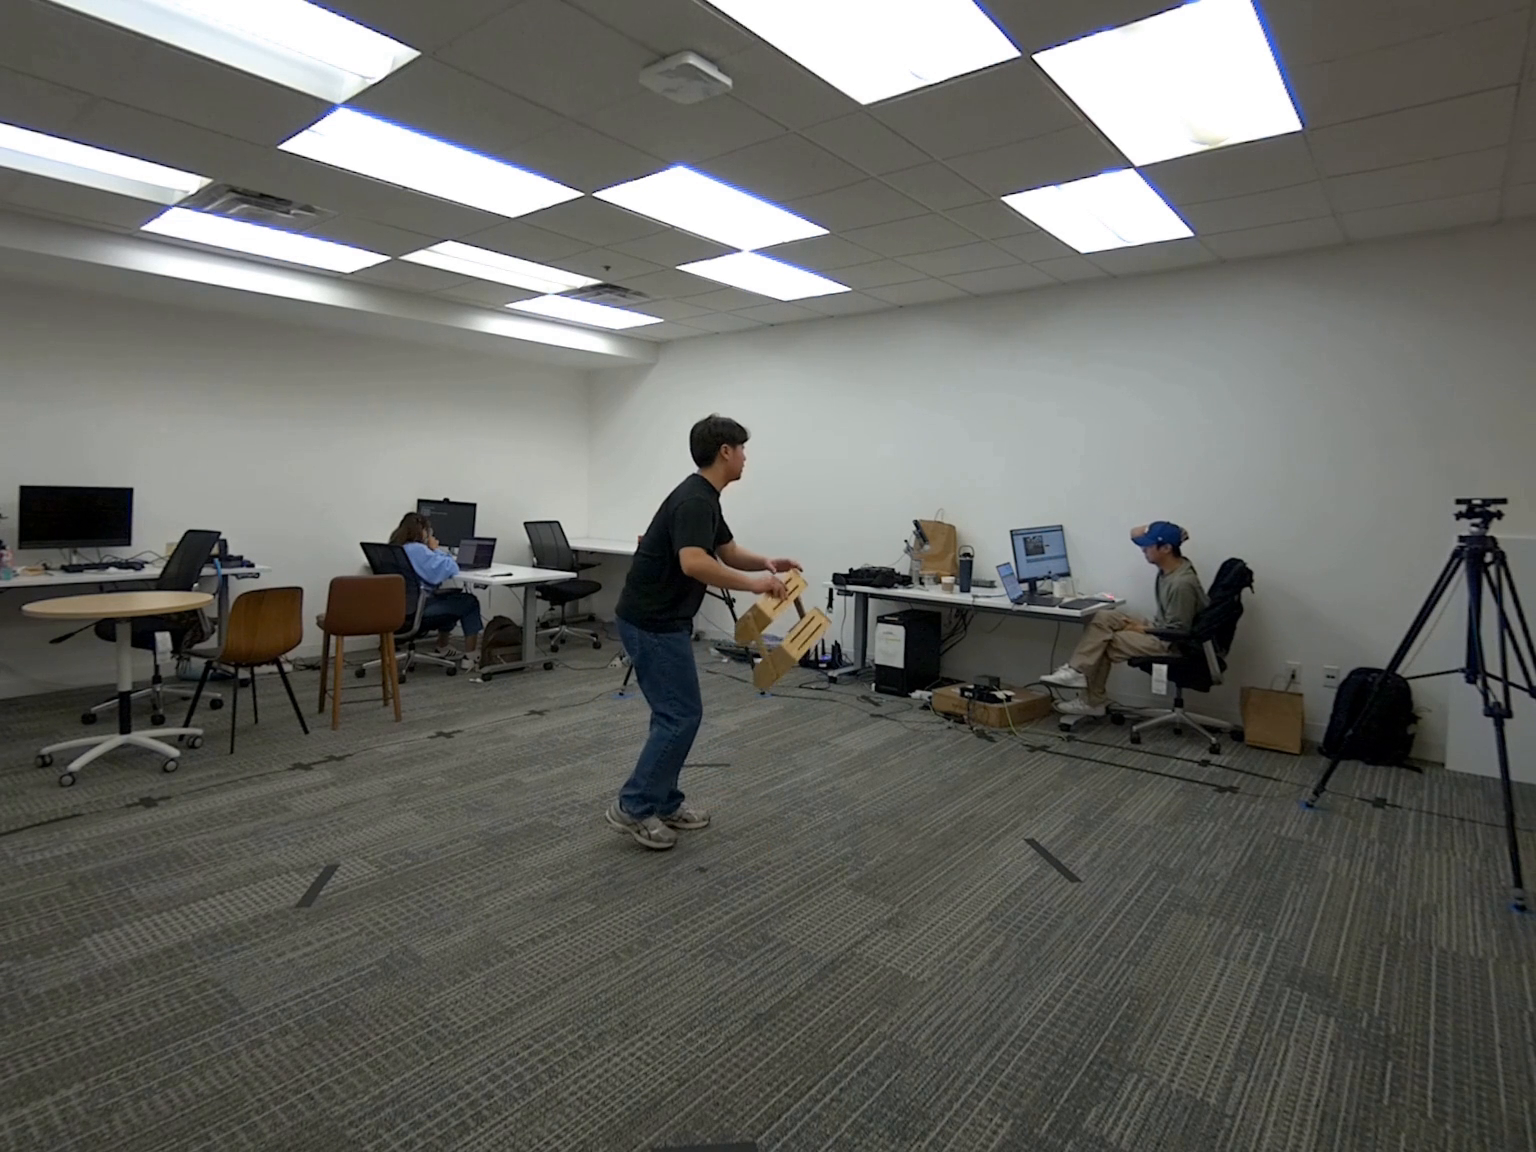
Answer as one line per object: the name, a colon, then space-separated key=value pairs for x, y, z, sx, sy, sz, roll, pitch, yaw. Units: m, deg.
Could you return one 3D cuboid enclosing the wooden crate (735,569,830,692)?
wooden crate: x=0.019 y=0.214 z=3.288 sx=0.302 sy=0.275 sz=0.322 roll=-46 pitch=-5 yaw=40
